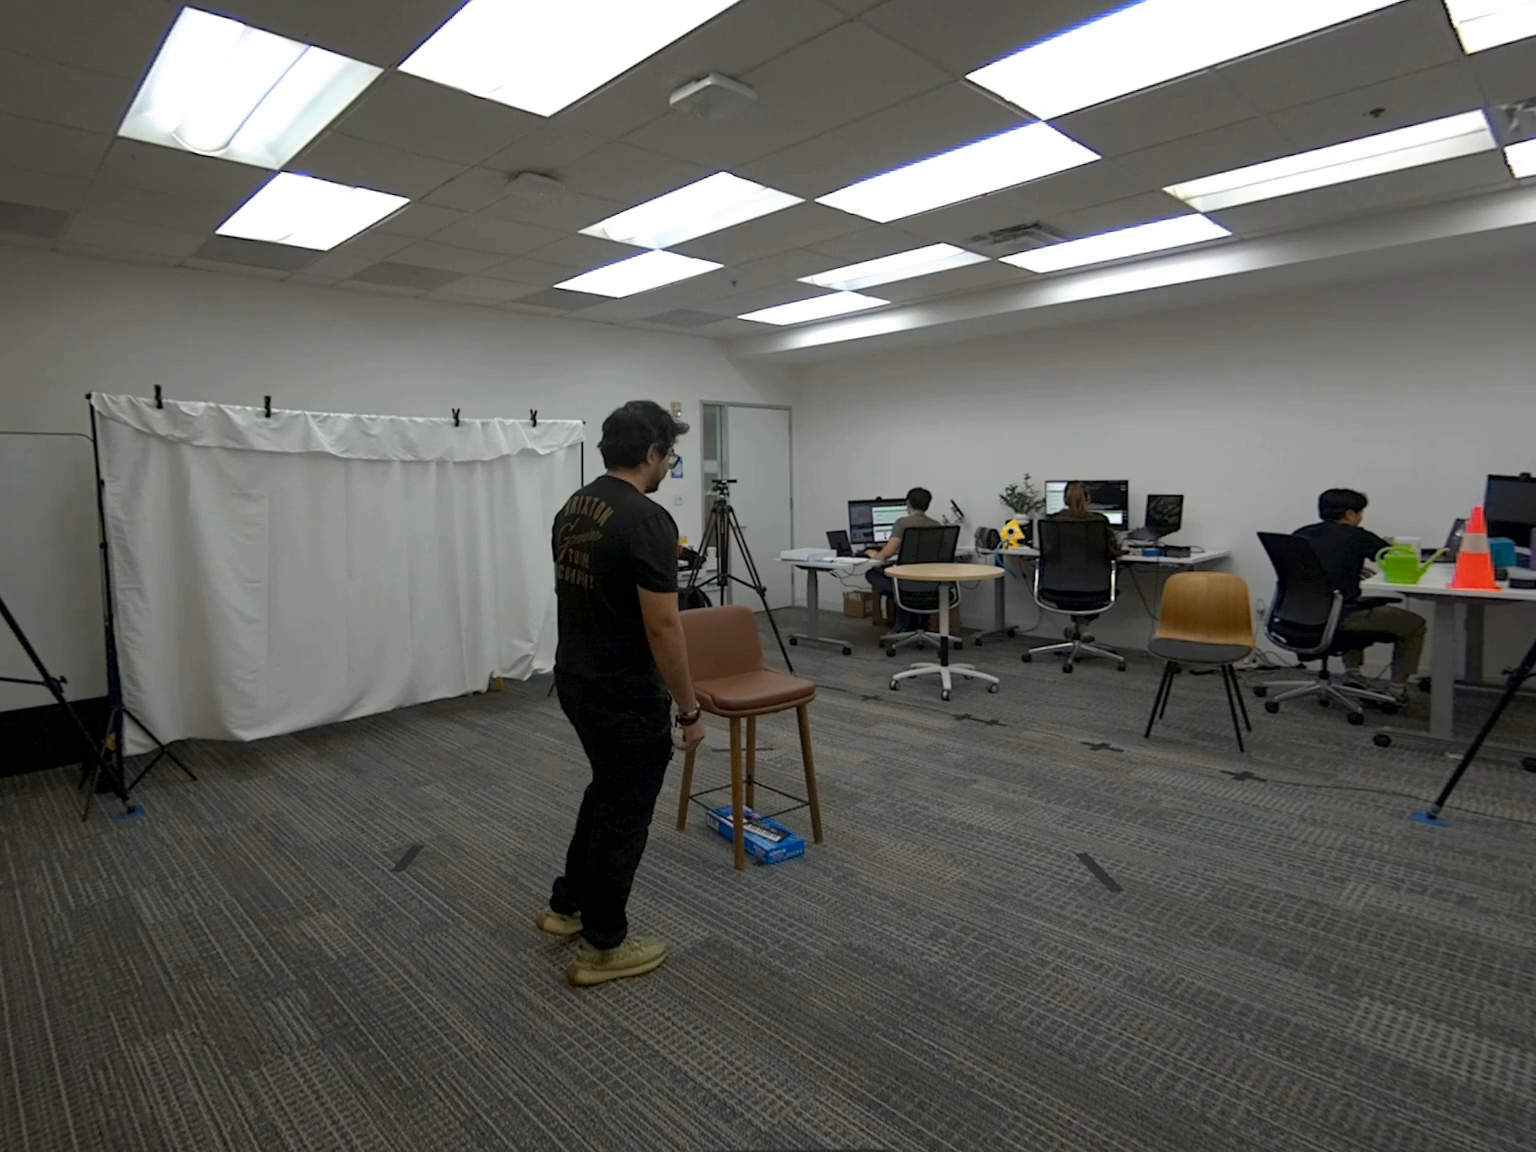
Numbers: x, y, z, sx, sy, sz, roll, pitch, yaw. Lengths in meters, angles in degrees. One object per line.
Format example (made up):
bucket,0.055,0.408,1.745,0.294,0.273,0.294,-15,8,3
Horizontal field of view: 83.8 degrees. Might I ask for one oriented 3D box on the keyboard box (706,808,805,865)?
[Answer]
keyboard box,-0.059,0.995,3.319,0.171,0.059,0.449,-4,7,-33
